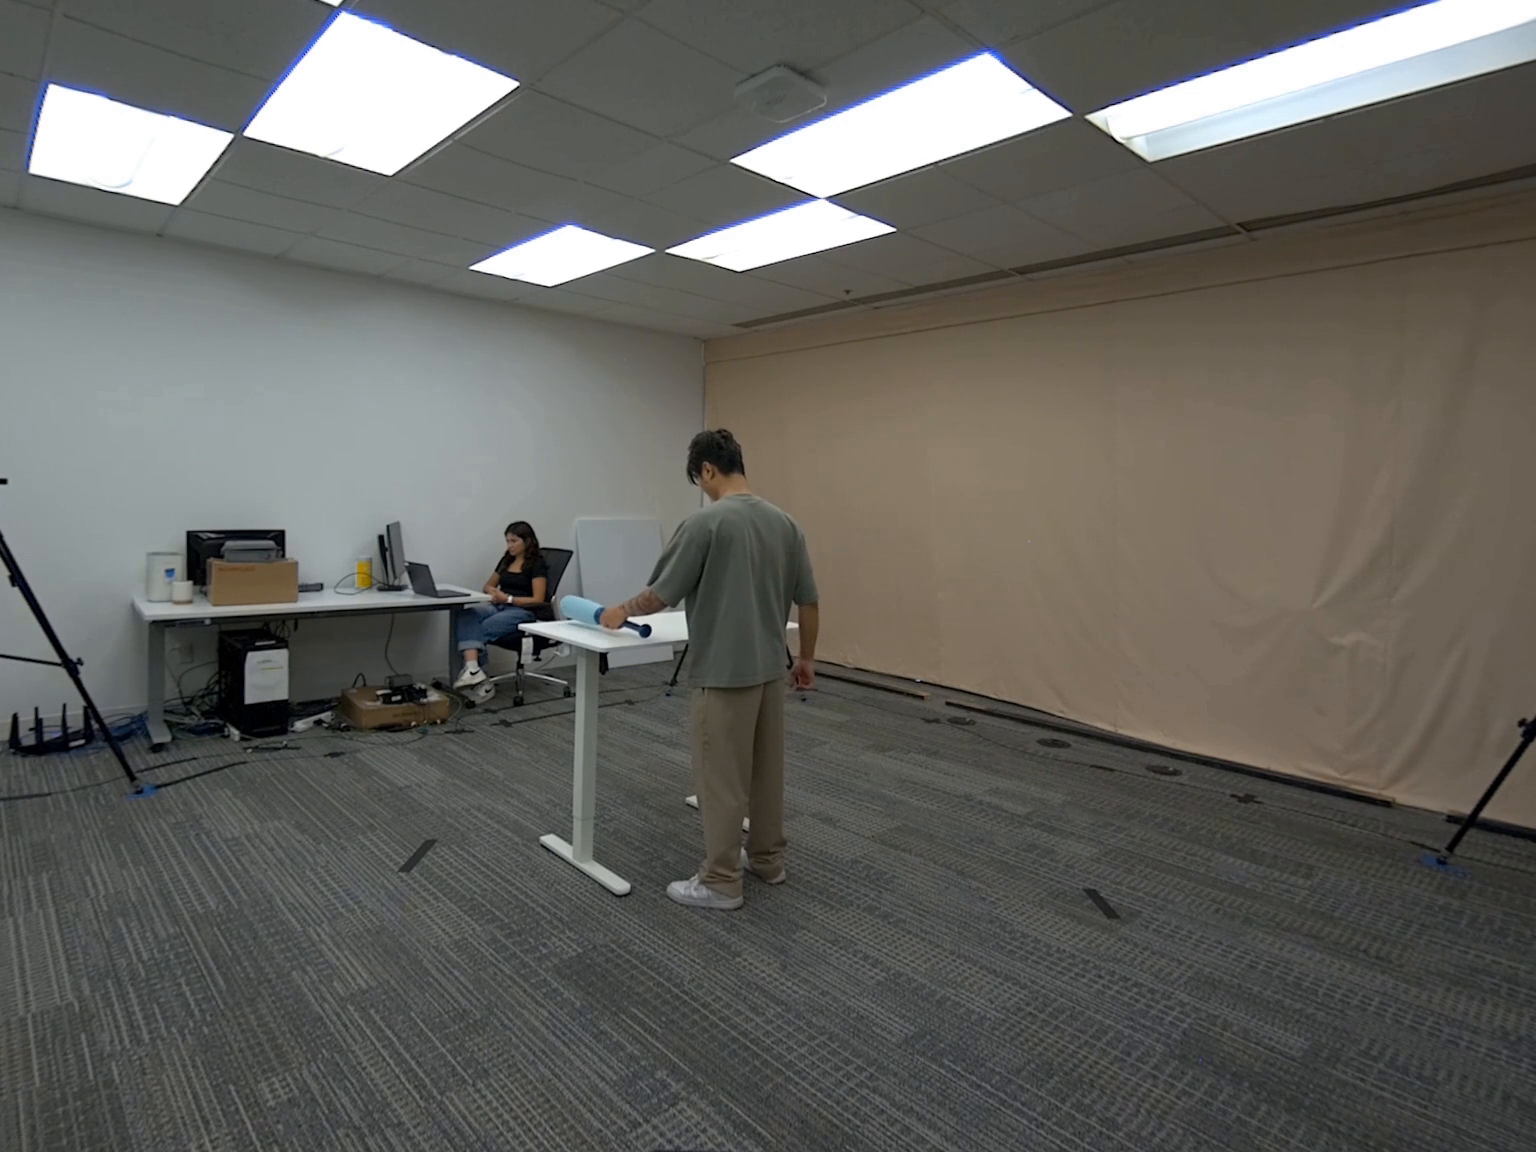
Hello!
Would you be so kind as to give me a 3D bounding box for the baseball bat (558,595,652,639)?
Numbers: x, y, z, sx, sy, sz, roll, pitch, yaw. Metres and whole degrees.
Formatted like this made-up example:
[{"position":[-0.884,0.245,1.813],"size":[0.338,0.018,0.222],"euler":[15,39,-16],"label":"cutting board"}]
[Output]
[{"position":[-0.616,0.160,3.135],"size":[0.087,0.088,0.558],"euler":[-3,10,-43],"label":"baseball bat"}]
